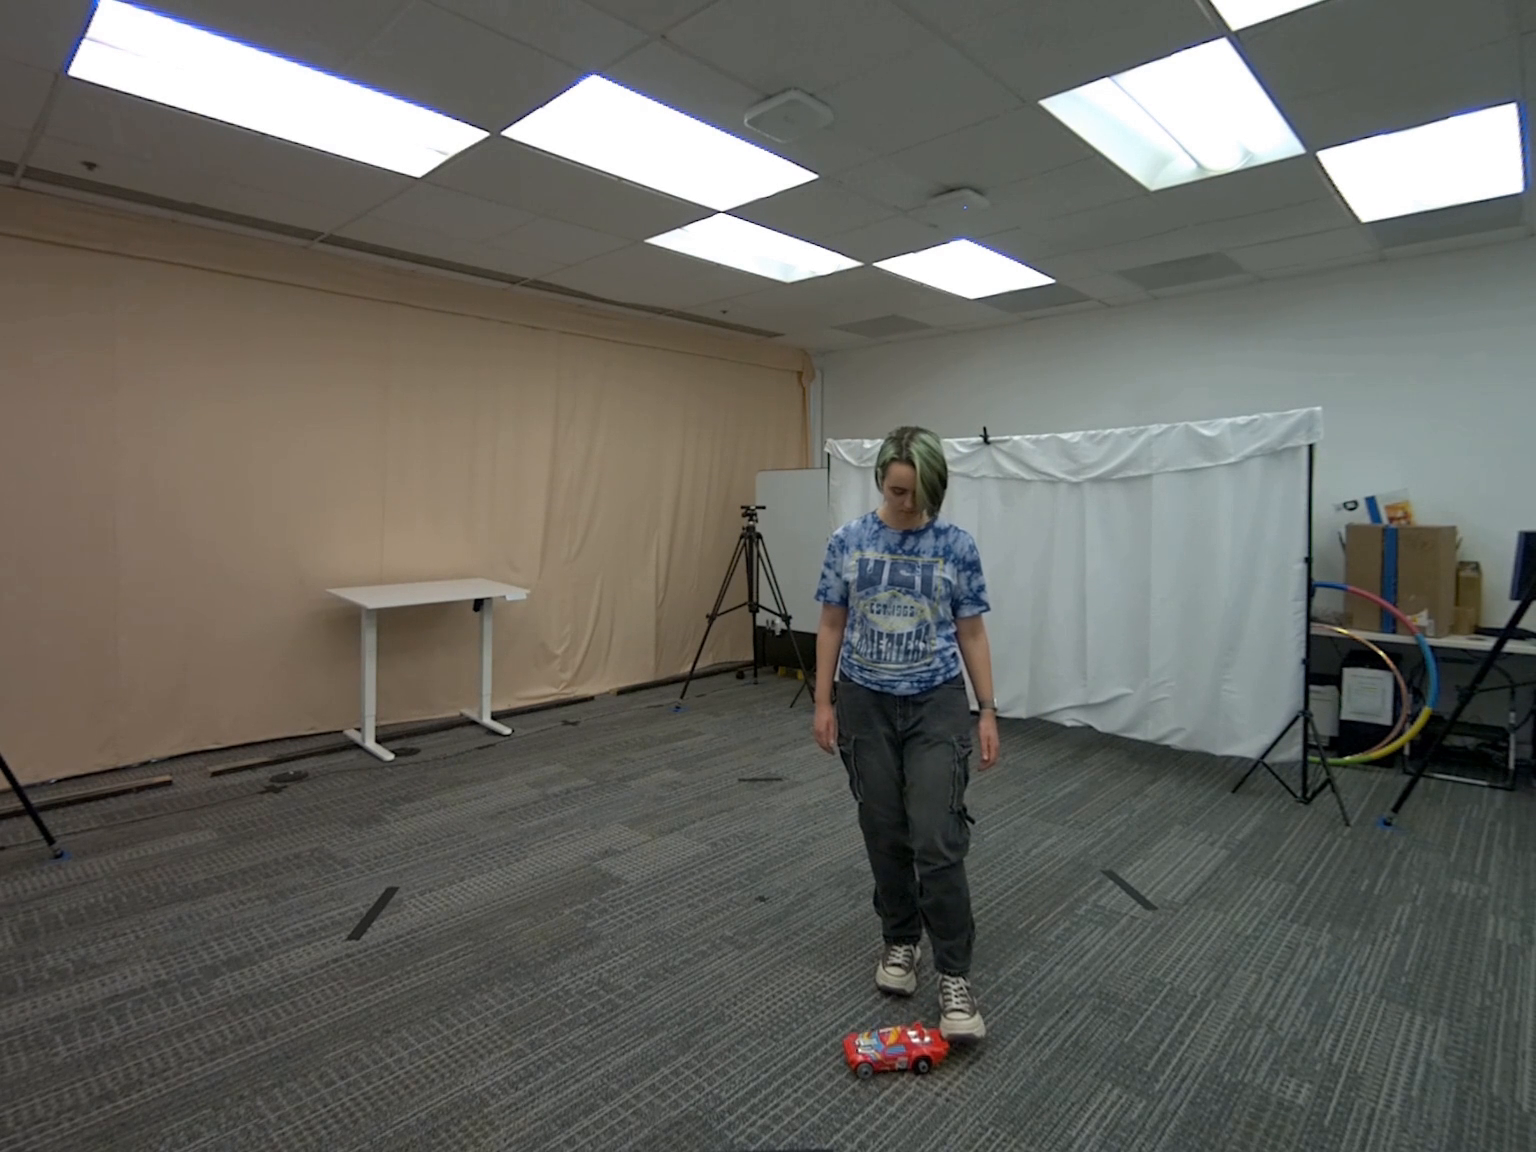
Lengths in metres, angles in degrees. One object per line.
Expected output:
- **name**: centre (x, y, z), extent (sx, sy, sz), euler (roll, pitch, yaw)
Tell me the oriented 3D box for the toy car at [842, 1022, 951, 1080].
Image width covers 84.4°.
- **toy car**: centre (0.321, 1.190, 2.097), extent (0.254, 0.083, 0.131), euler (-10, 5, -3)
